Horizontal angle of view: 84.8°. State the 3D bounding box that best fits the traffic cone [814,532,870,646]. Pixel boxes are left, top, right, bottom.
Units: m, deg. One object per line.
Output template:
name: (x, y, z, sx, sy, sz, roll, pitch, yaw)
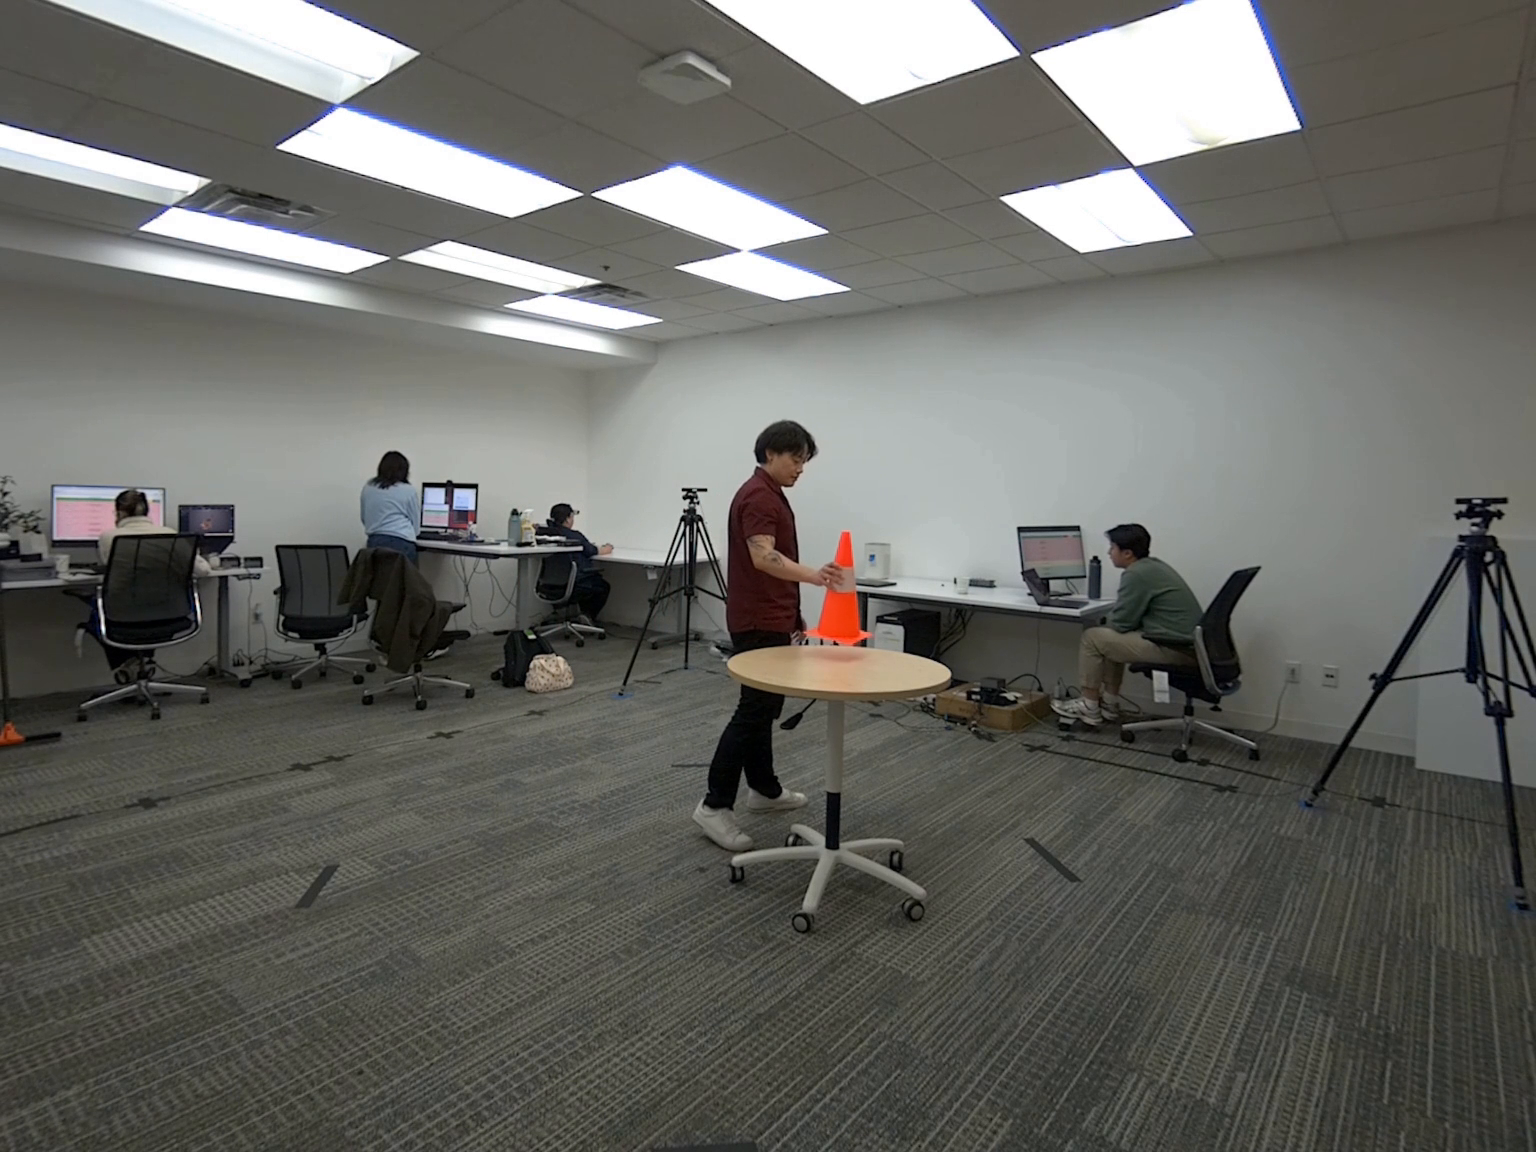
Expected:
traffic cone: (0.269, 0.026, 3.095, 0.211, 0.380, 0.199, 9, 11, 28)
